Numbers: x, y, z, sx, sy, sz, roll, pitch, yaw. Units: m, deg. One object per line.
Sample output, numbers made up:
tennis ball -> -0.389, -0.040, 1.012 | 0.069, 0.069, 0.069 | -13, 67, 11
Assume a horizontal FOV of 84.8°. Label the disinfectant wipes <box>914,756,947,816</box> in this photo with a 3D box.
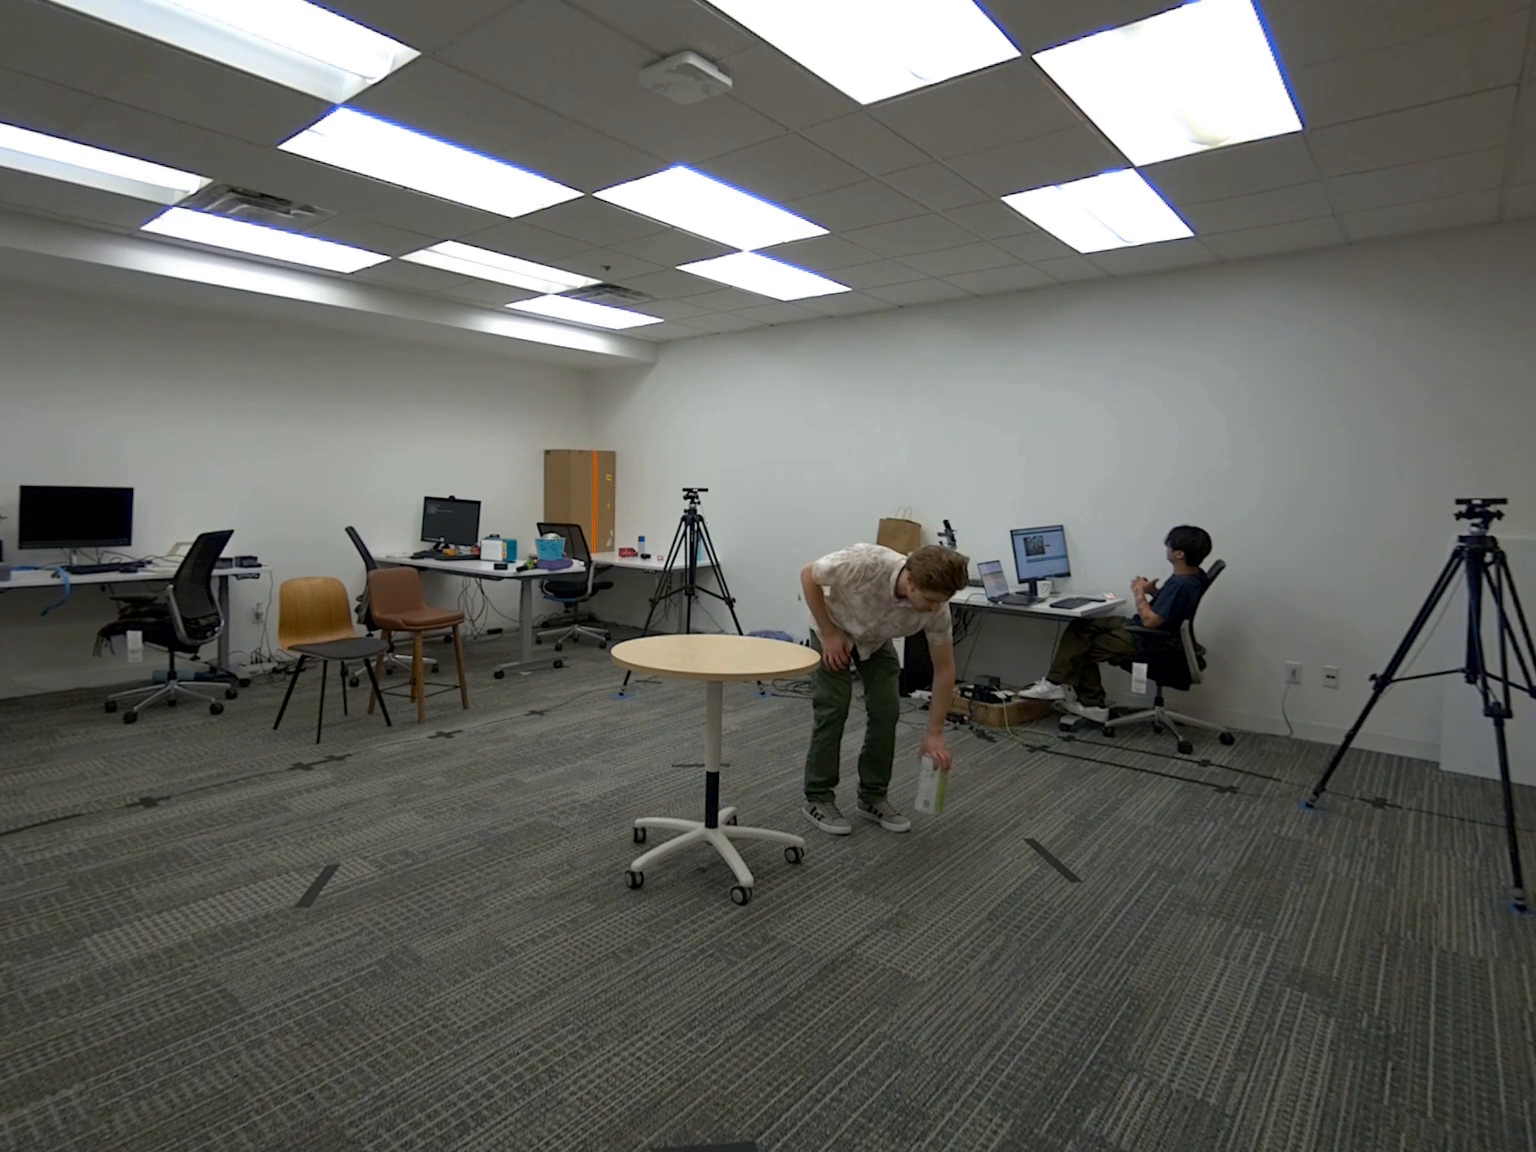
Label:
disinfectant wipes -> 0.634, 0.811, 3.350 | 0.117, 0.217, 0.118 | 7, 2, -2
